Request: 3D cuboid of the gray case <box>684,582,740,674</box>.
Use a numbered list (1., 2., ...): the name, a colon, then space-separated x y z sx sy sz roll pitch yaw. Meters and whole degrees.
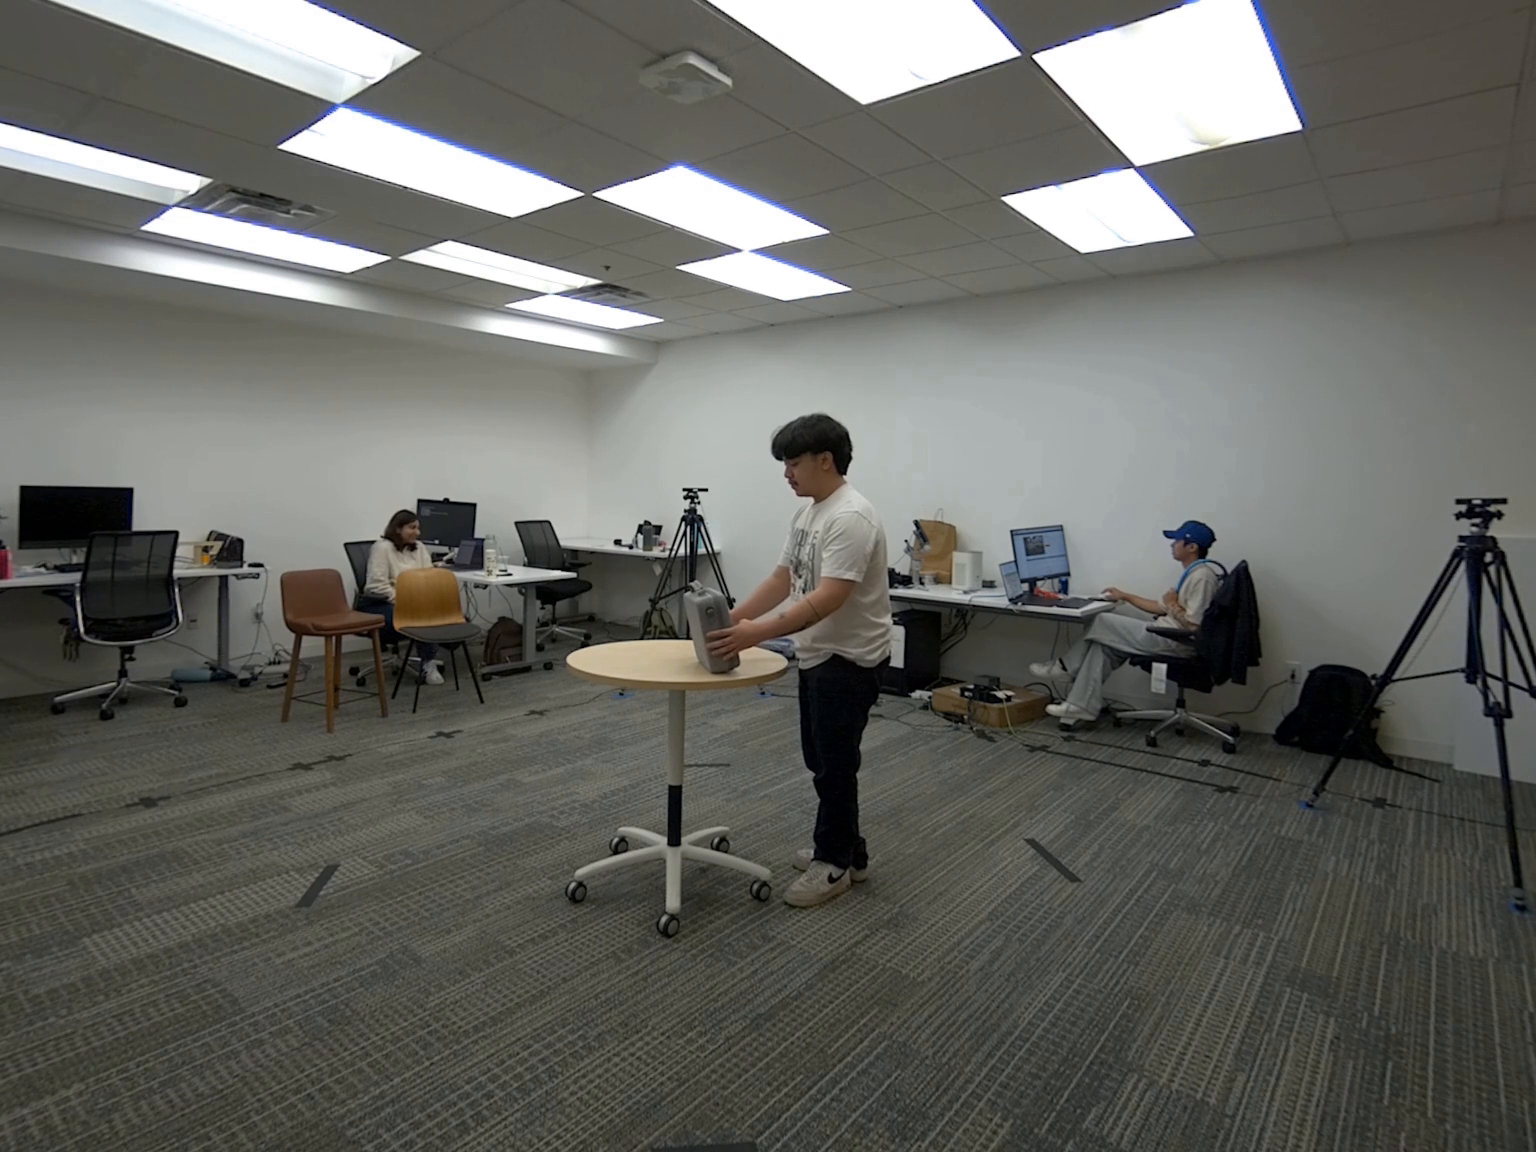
1. gray case: -0.205 0.164 2.810 0.103 0.259 0.261 -12 6 -14
